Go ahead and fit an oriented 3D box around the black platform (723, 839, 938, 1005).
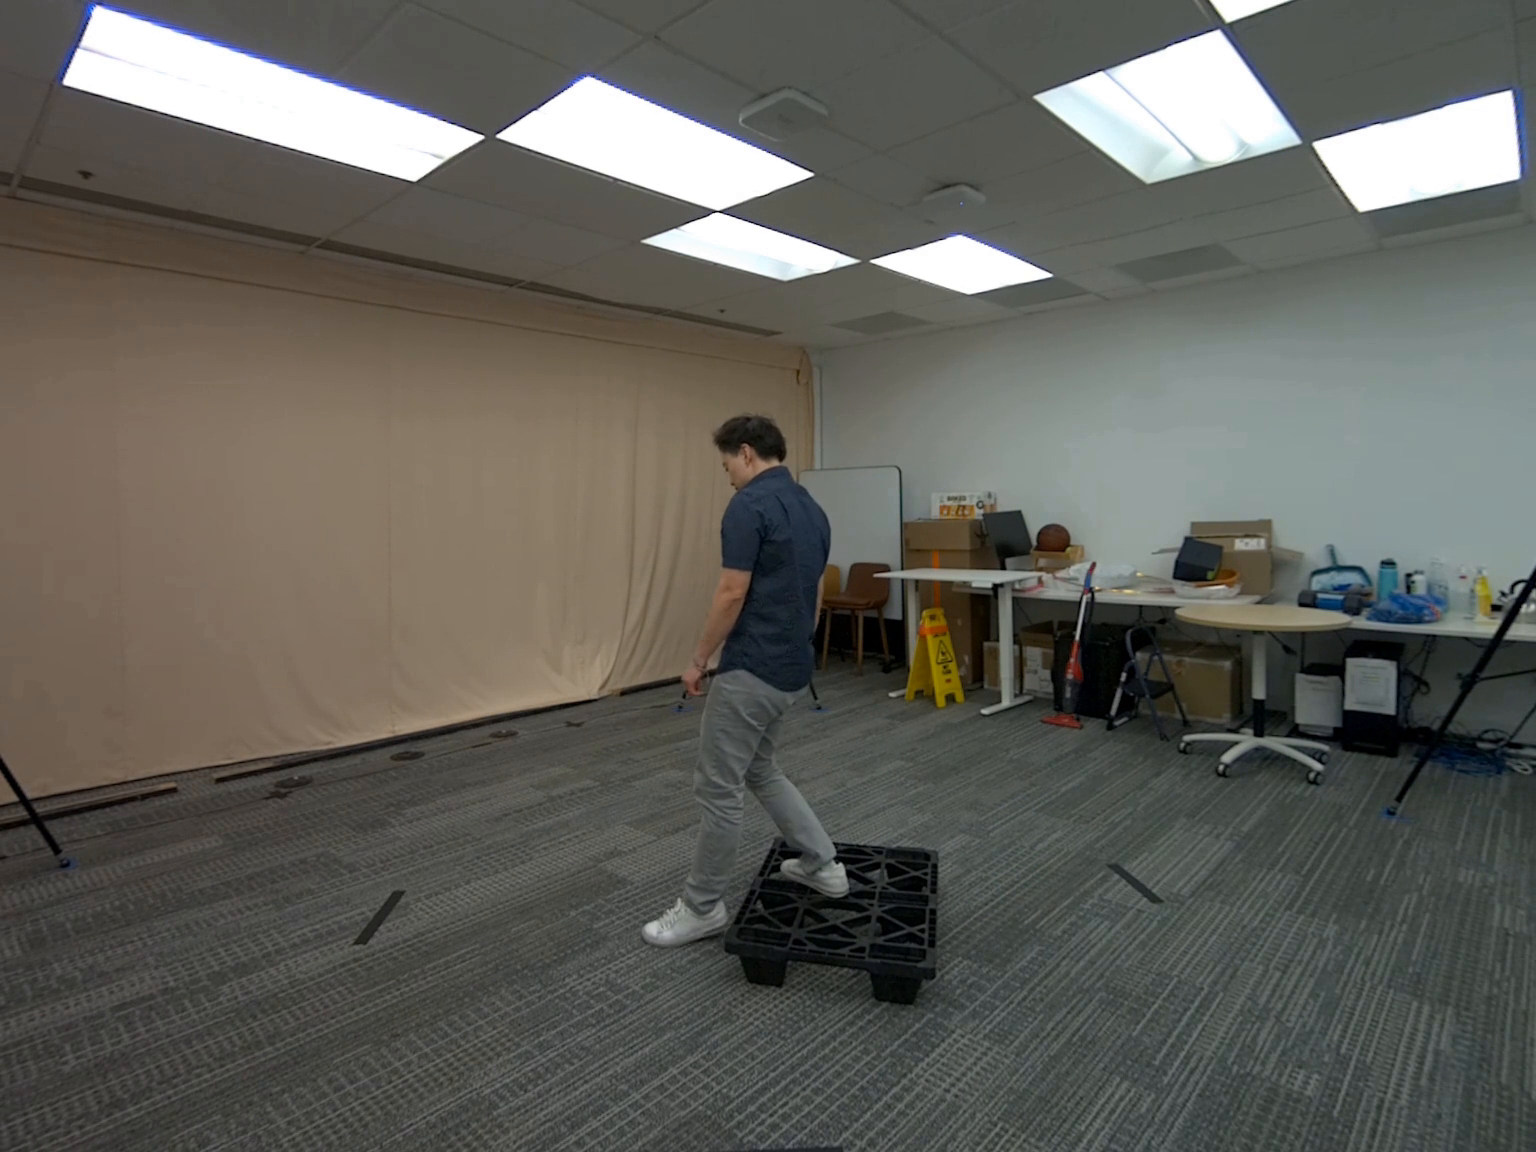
[{"bbox_3d":[0.253,1.089,2.739,0.614,0.143,0.796,1,5,13],"label":"black platform"}]
